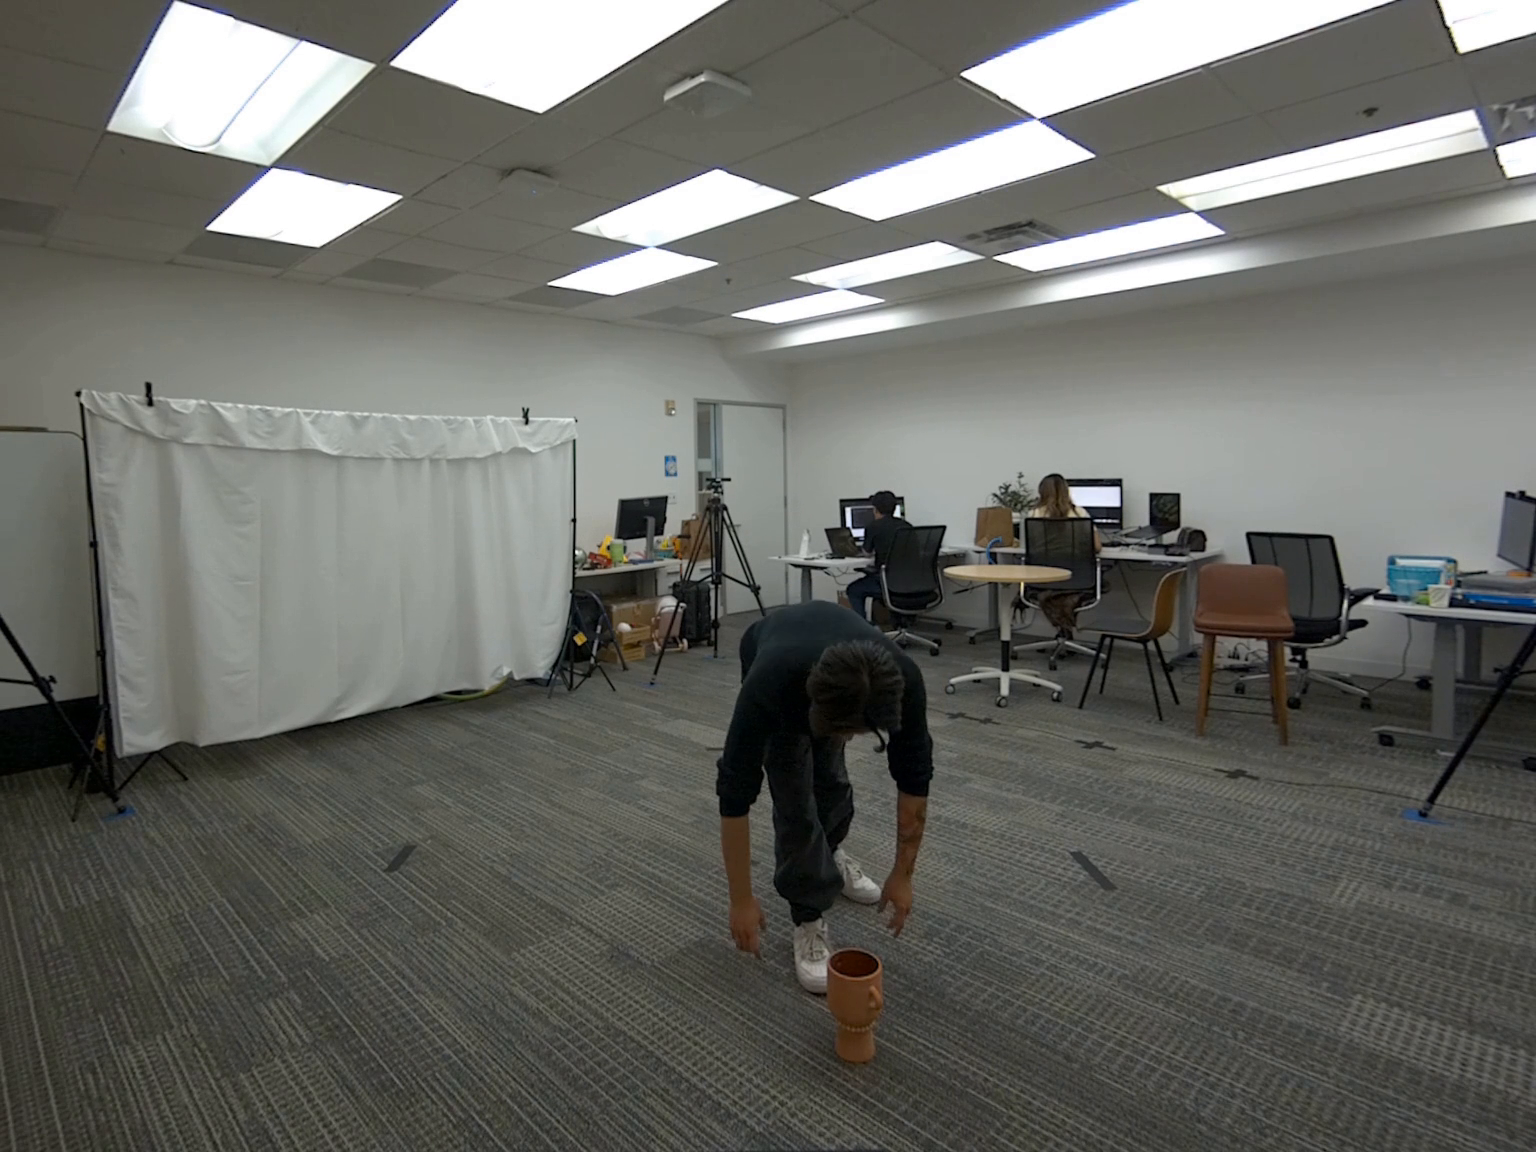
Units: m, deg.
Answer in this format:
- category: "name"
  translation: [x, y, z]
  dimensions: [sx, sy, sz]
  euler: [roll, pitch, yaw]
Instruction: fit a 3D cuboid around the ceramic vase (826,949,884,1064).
- category: "ceramic vase"
  translation: [0.219, 1.053, 2.075]
  dimensions: [0.136, 0.219, 0.158]
  euler: [0, 4, 10]
